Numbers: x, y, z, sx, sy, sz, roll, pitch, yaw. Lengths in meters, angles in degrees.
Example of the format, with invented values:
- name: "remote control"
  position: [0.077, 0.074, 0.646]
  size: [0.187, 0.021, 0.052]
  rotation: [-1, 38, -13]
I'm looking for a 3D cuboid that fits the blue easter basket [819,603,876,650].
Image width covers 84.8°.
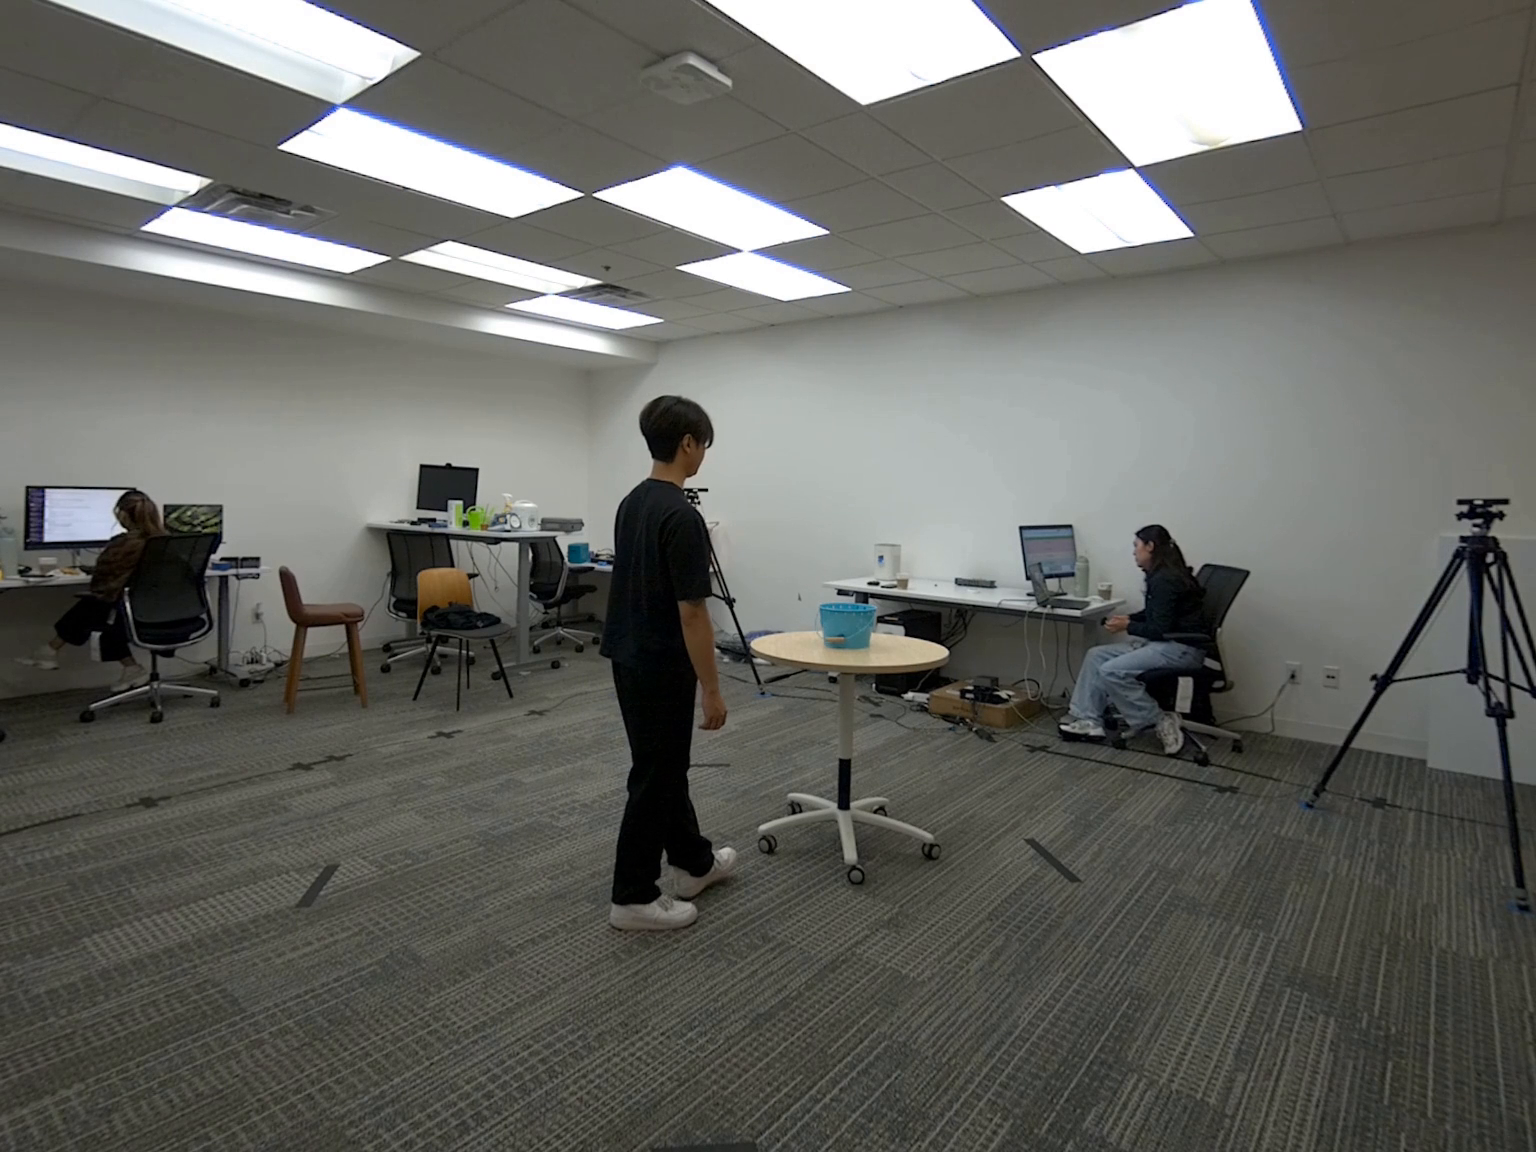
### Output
- name: "blue easter basket"
  position: [0.305, 0.196, 3.380]
  size: [0.243, 0.155, 0.245]
  rotation: [1, 4, -2]
